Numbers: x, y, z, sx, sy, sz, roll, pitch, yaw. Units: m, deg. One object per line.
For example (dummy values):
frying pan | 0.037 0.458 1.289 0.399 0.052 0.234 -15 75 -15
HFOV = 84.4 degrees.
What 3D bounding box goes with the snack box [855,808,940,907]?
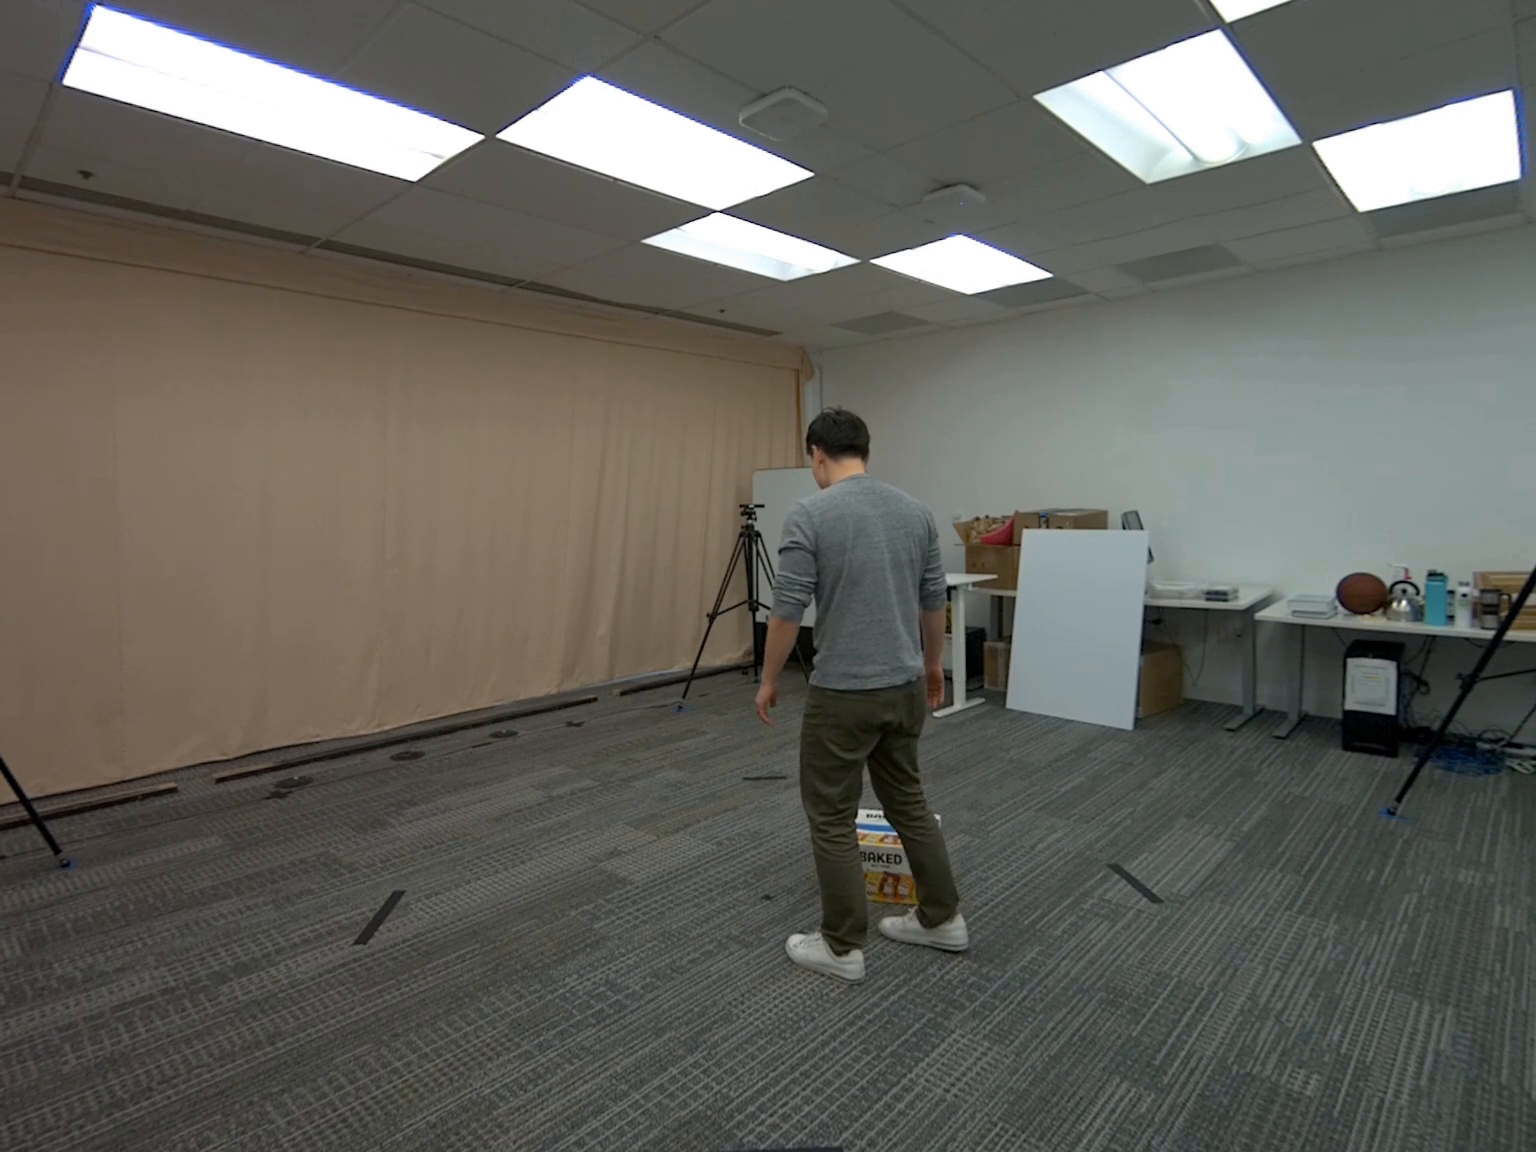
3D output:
snack box | 0.433 1.029 3.090 0.411 0.205 0.336 0 4 13
